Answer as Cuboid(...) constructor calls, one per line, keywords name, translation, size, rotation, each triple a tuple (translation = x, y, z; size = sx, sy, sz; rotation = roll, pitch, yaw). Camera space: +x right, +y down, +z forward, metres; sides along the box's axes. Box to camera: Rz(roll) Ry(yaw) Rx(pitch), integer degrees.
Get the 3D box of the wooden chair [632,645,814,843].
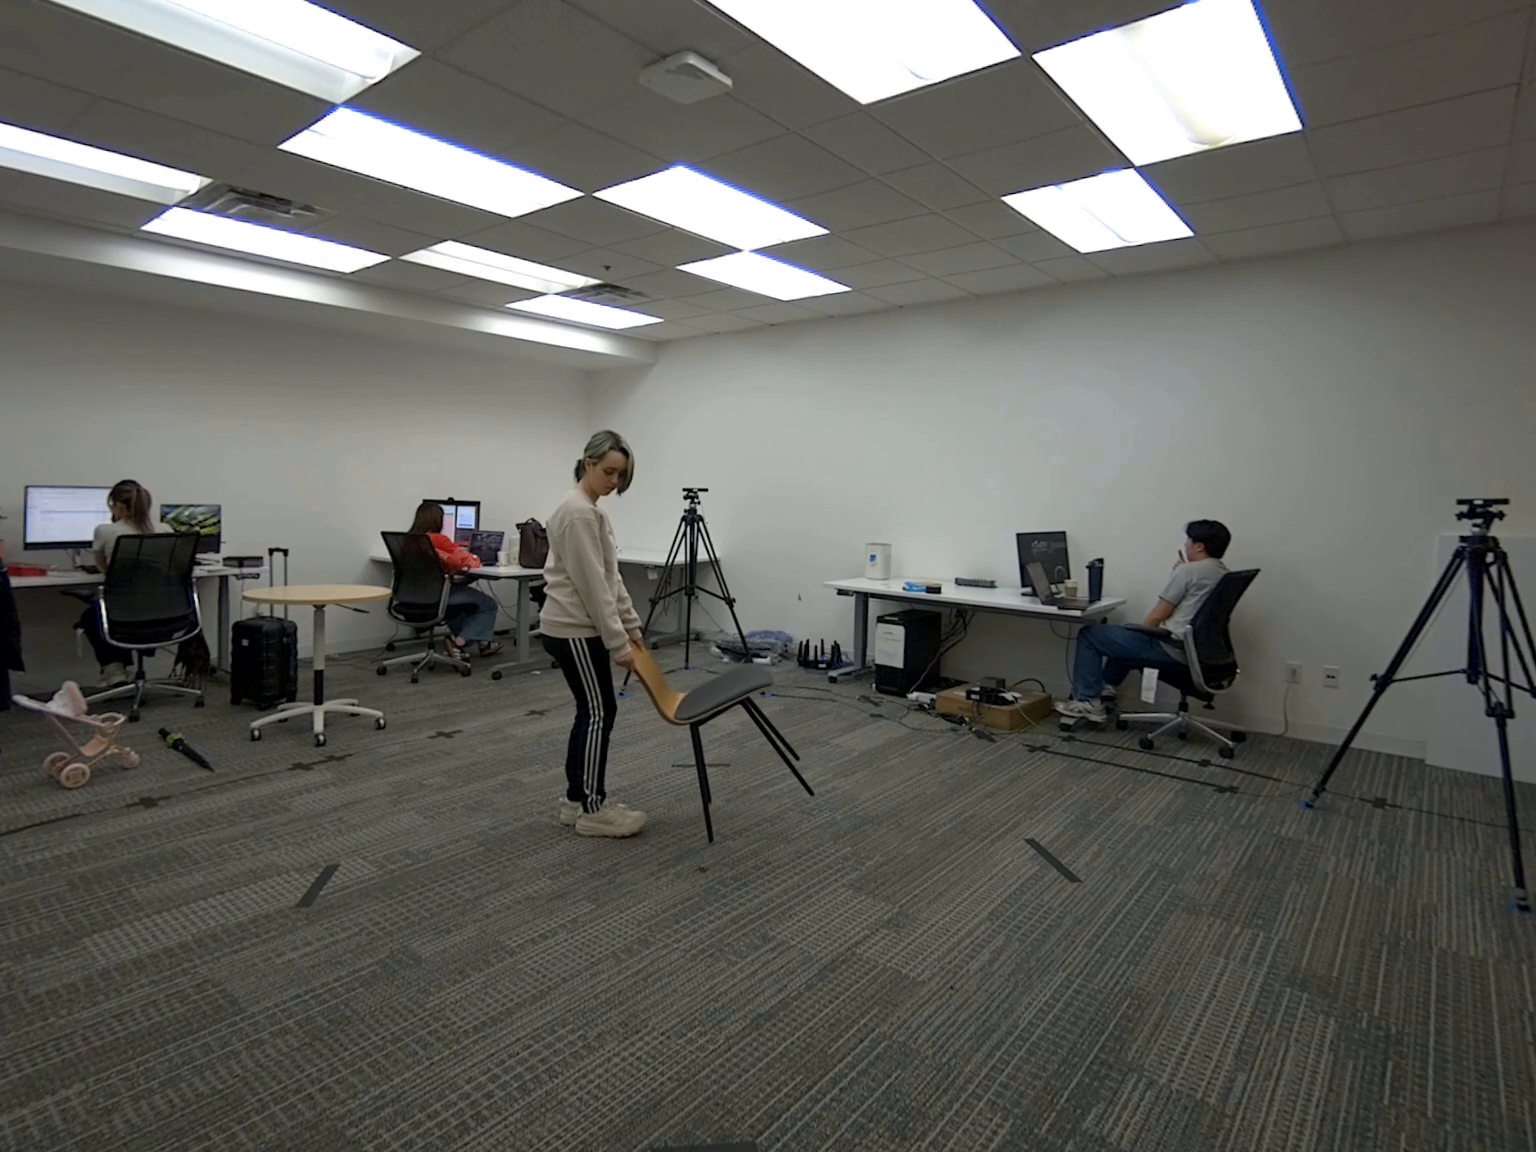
Cuboid(name="wooden chair", translation=(-0.222, 0.546, 3.533), size=(0.523, 0.873, 0.481), rotation=(-30, 4, -2))
